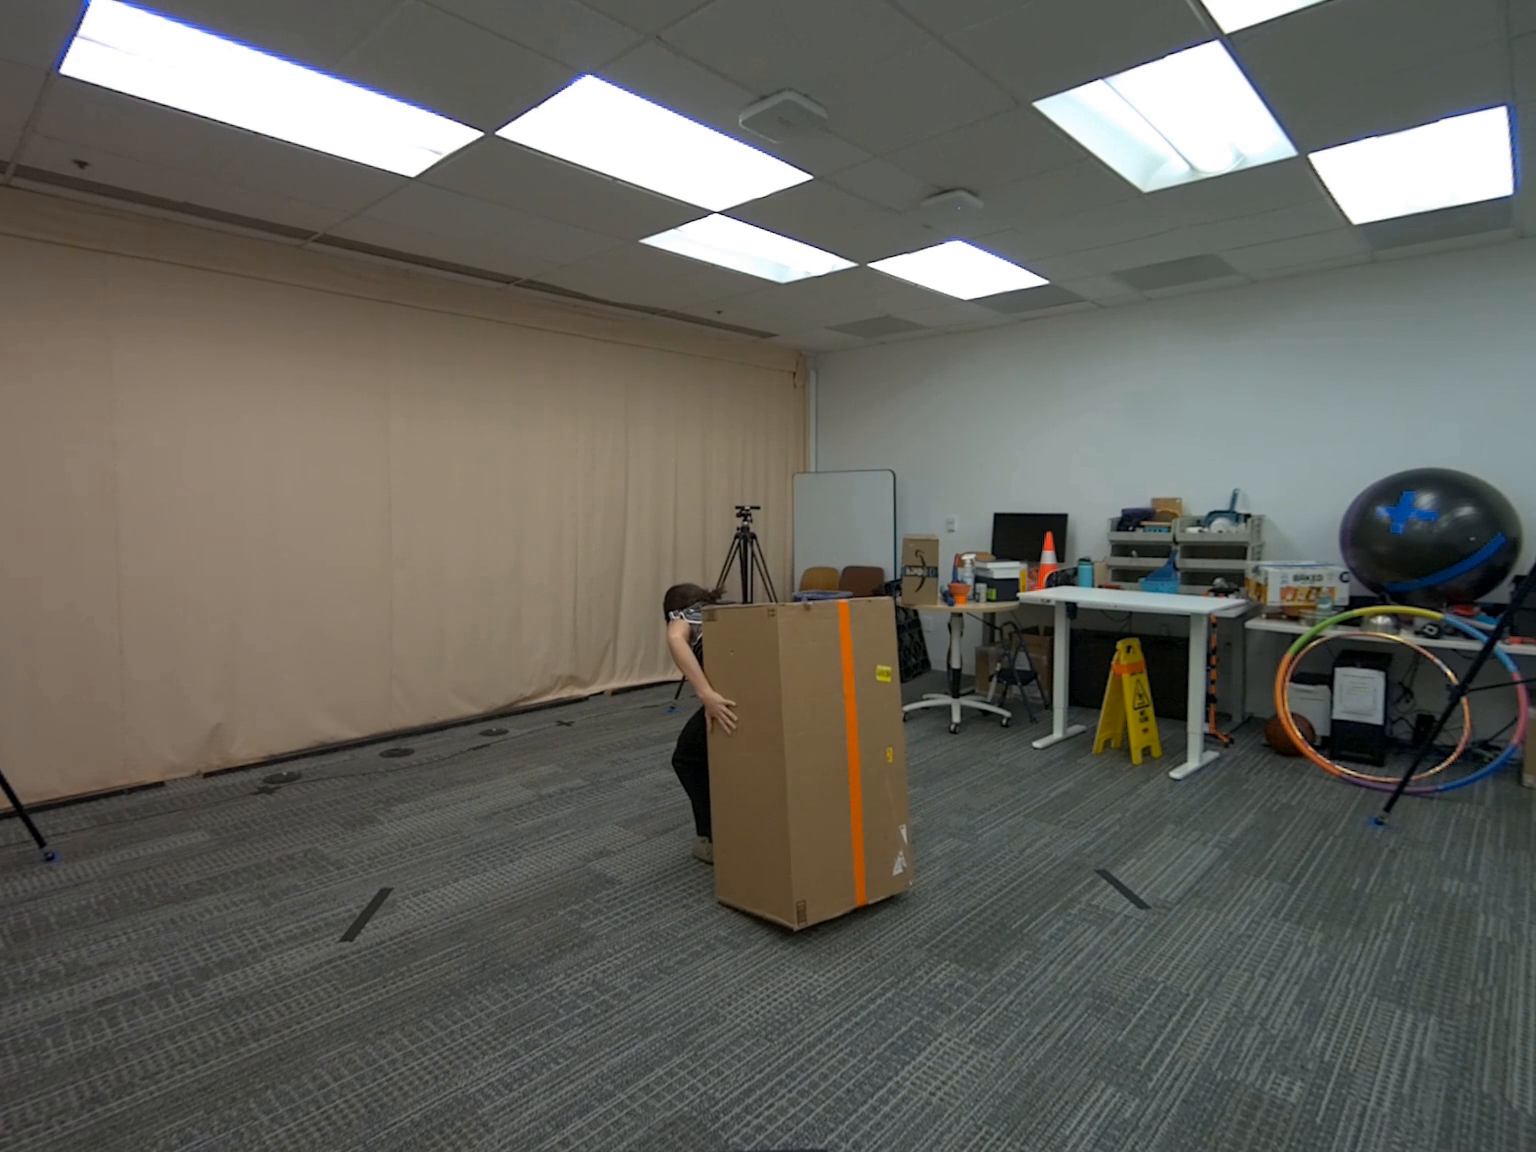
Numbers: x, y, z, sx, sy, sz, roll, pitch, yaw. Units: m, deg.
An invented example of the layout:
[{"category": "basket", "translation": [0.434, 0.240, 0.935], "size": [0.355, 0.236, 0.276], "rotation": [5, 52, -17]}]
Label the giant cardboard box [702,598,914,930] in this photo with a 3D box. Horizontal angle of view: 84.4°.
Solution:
[{"category": "giant cardboard box", "translation": [0.143, 0.603, 2.993], "size": [0.559, 1.029, 0.438], "rotation": [0, -6, -40]}]
